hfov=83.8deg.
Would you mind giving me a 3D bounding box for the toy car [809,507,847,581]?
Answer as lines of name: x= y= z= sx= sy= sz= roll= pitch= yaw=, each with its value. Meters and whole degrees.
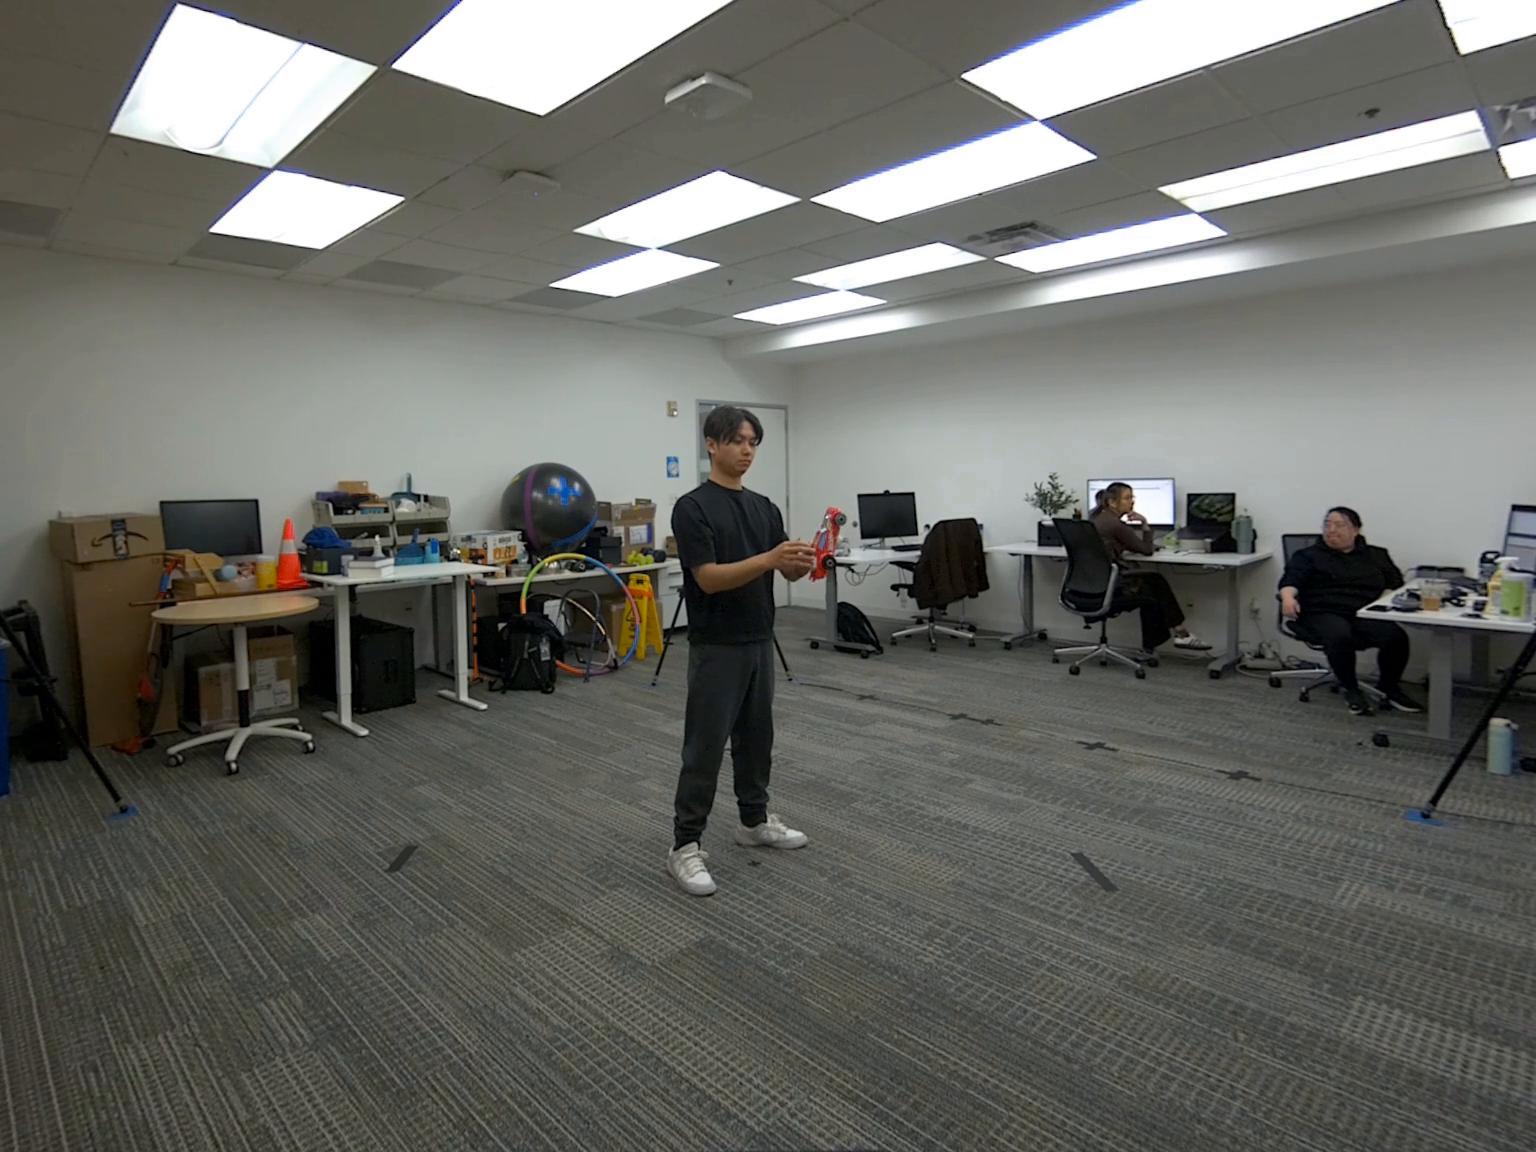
toy car: x=0.190 y=-0.100 z=2.821 sx=0.082 sy=0.254 sz=0.132 roll=24 pitch=3 yaw=-10
